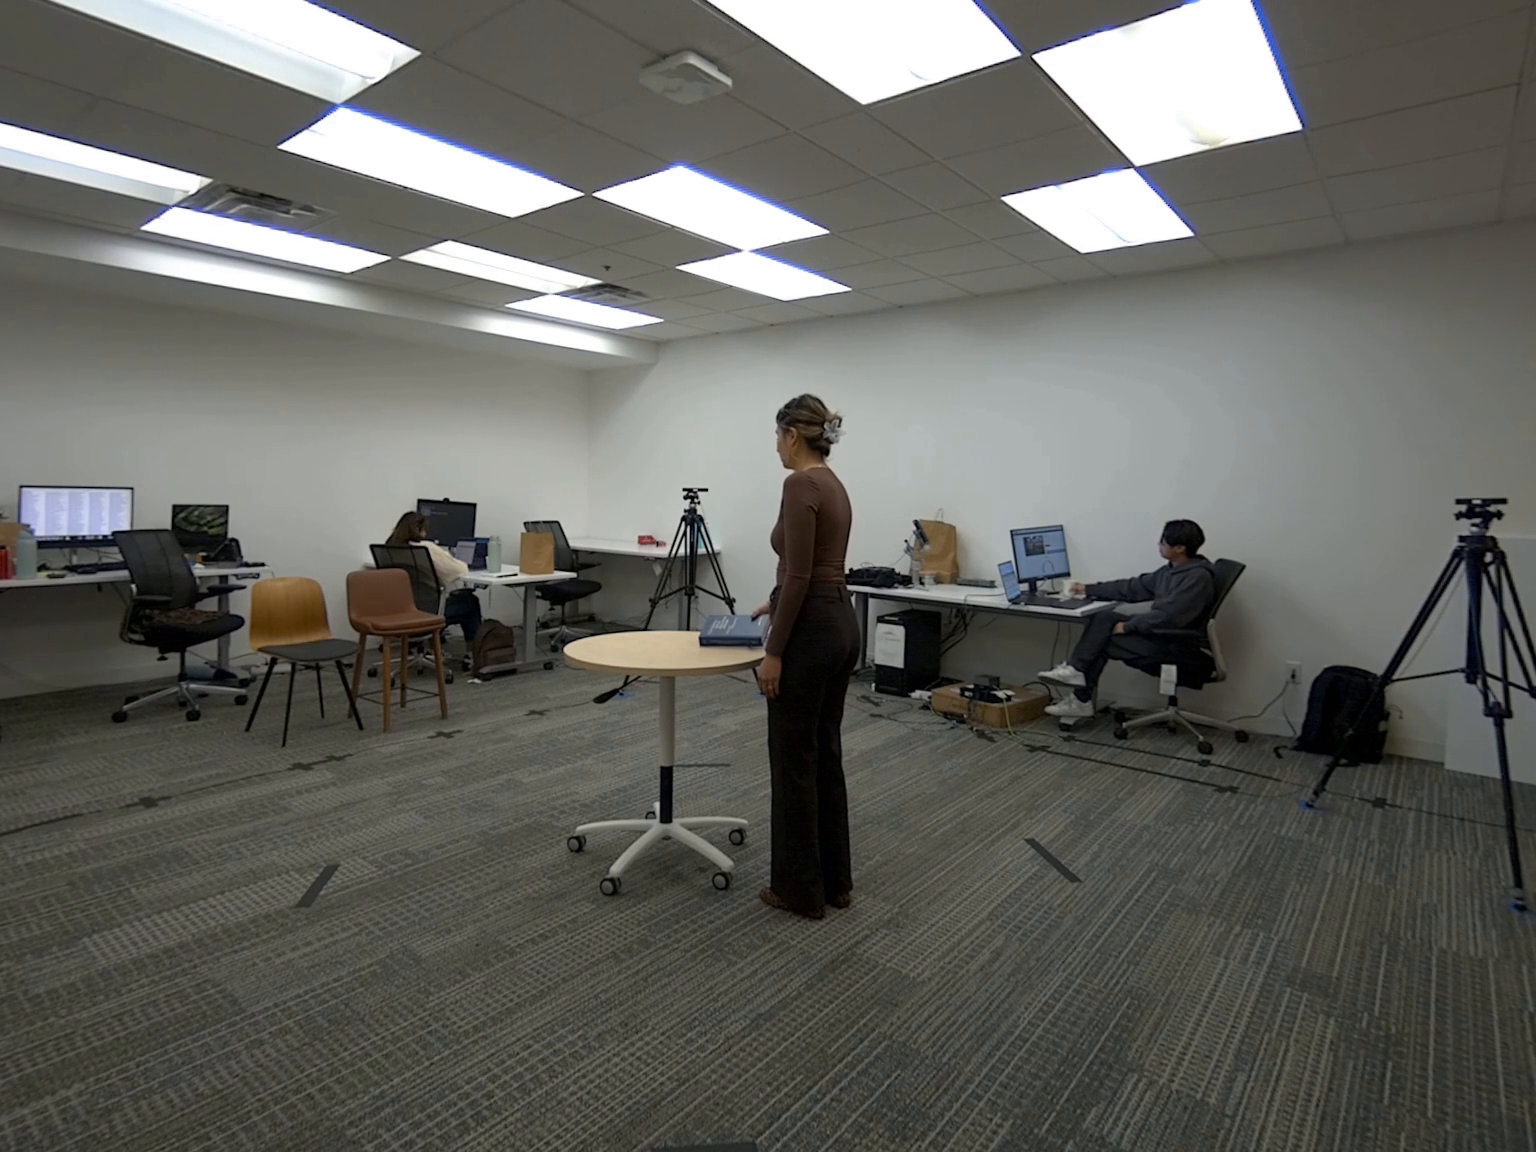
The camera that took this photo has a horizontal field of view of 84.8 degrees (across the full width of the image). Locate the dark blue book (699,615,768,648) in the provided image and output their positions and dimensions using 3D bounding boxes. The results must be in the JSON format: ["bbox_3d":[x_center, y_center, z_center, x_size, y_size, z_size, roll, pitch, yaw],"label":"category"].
[{"bbox_3d":[-0.134,0.207,3.220,0.249,0.044,0.165,-2,25,14],"label":"dark blue book"}]
